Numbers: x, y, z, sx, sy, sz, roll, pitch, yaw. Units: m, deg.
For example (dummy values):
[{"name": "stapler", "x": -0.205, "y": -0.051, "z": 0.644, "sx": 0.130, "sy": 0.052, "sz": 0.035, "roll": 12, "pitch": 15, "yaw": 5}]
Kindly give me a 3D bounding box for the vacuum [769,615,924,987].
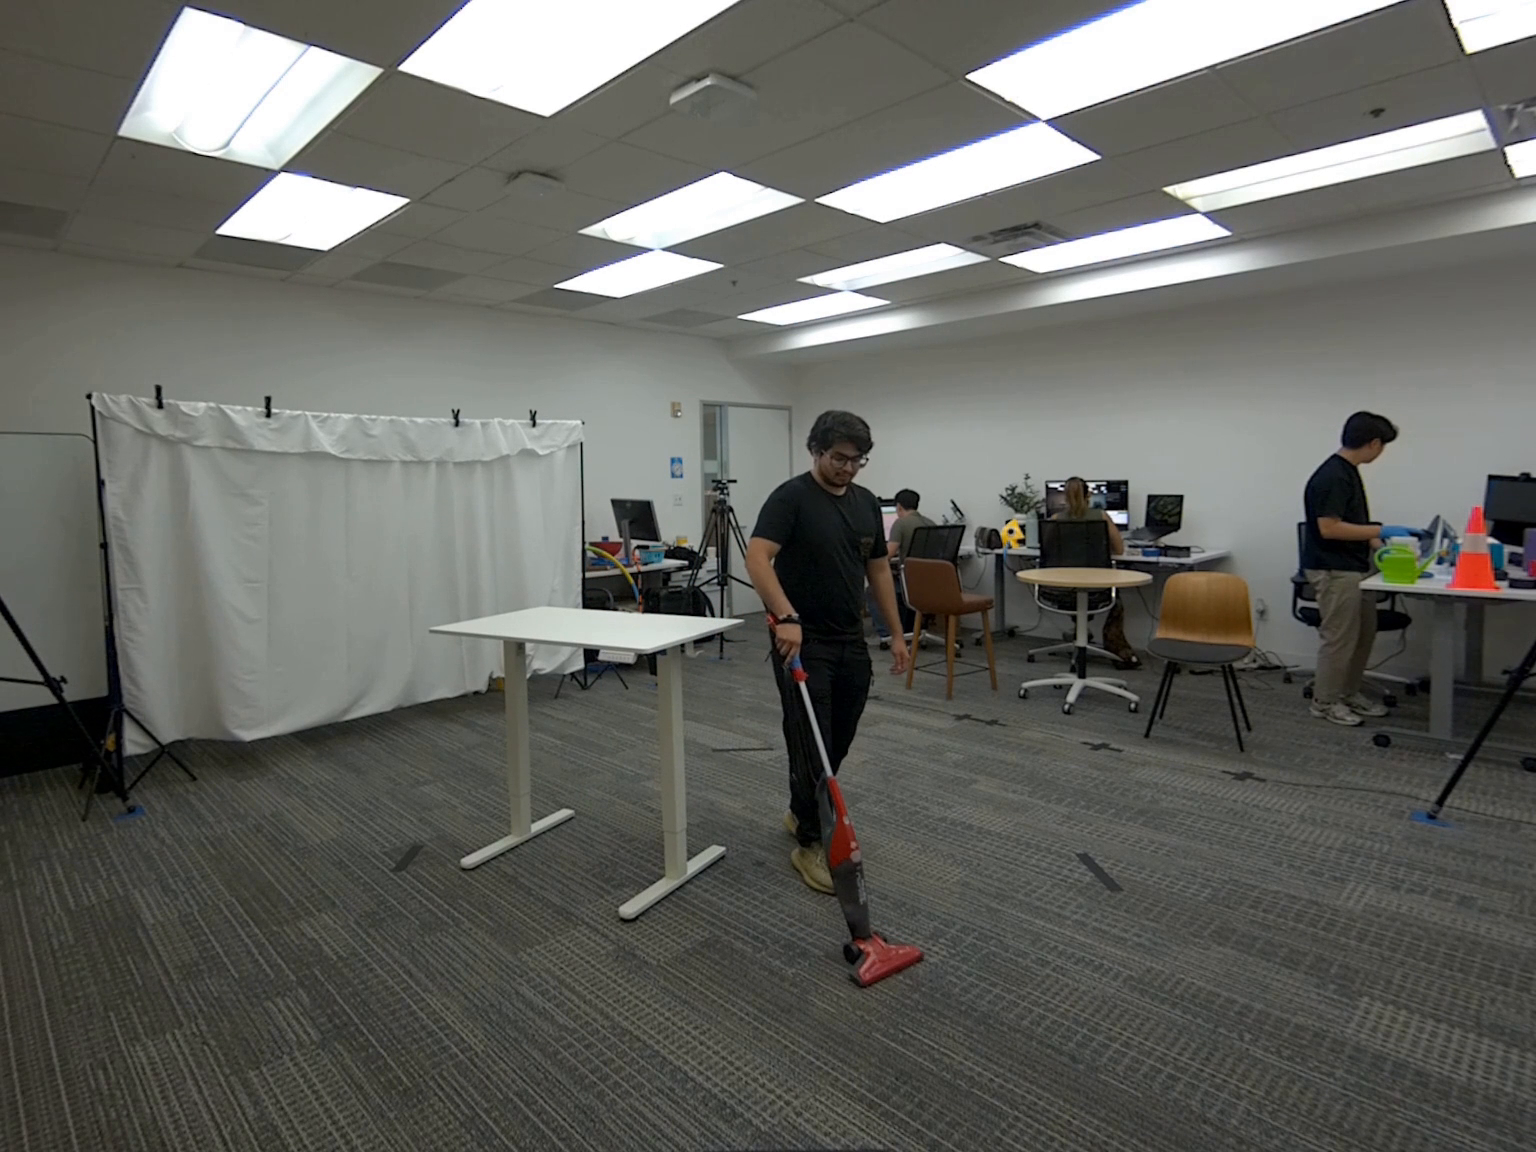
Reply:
[{"name": "vacuum", "x": 0.172, "y": 0.635, "z": 2.616, "sx": 0.246, "sy": 1.070, "sz": 0.145, "roll": -5, "pitch": -21, "yaw": -36}]
